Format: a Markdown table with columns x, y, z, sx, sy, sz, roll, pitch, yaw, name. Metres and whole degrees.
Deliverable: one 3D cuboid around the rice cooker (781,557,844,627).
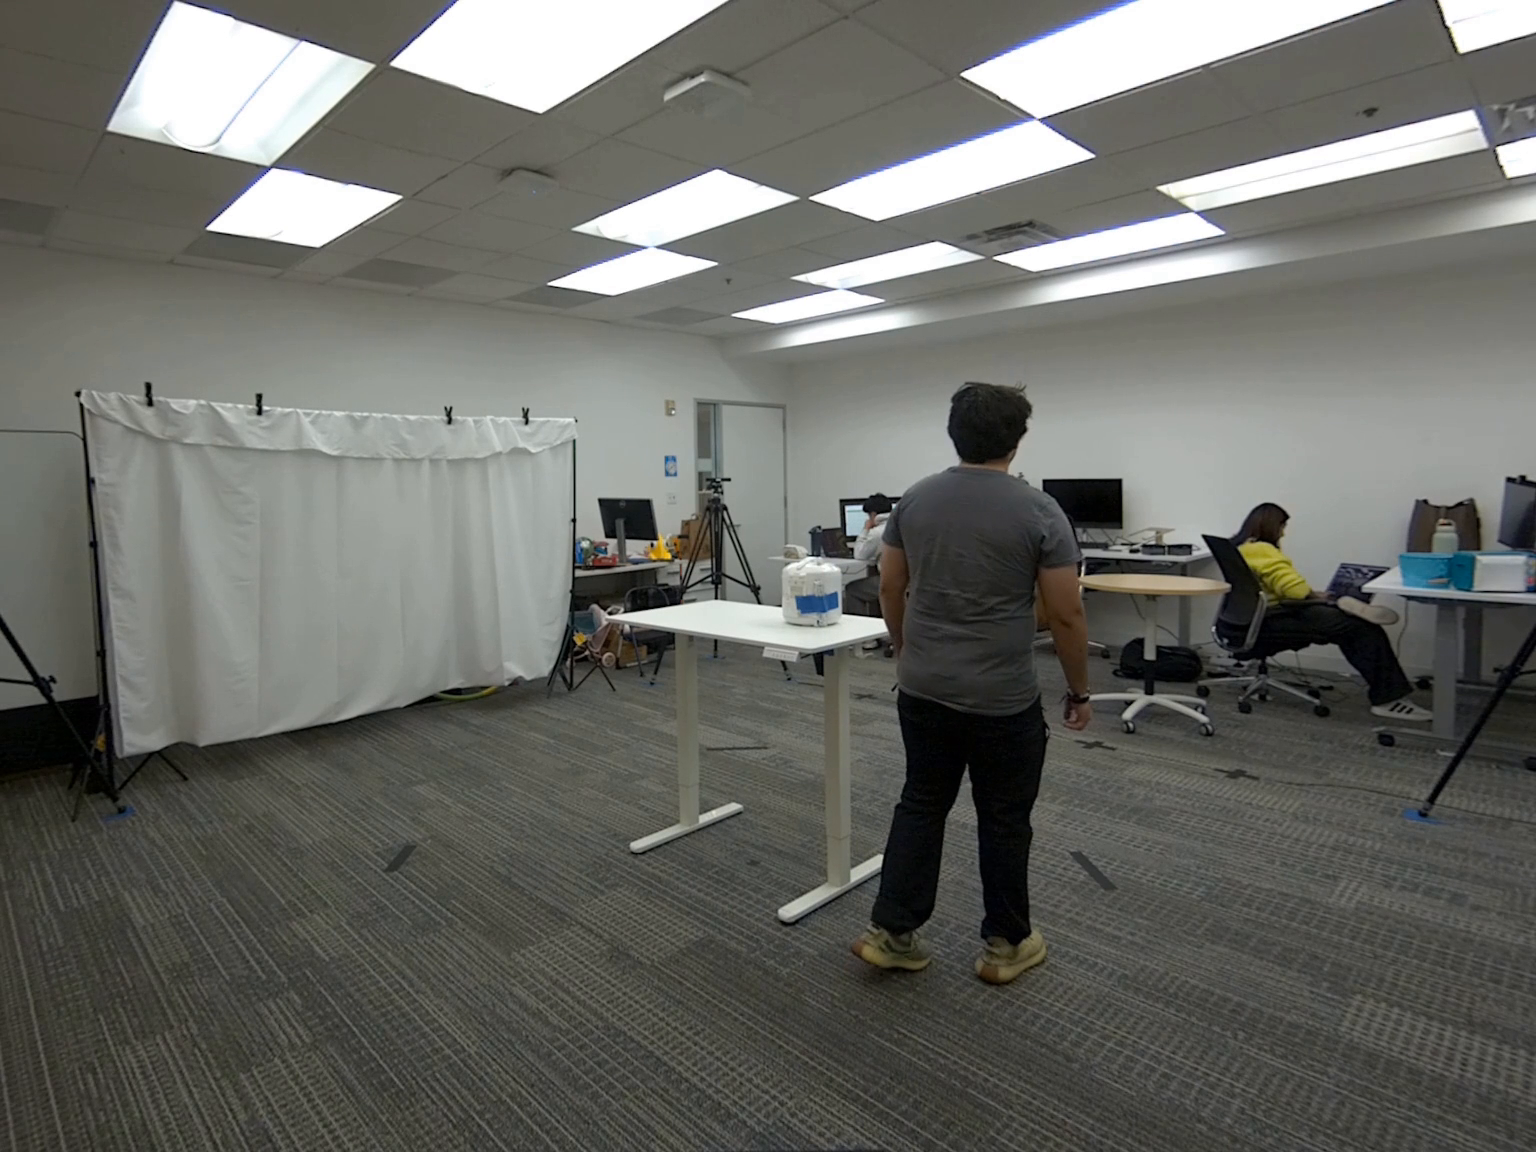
| x | y | z | sx | sy | sz | roll | pitch | yaw | name |
| --- | --- | --- | --- | --- | --- | --- | --- | --- | --- |
| 0.153 | 0.050 | 2.999 | 0.223 | 0.232 | 0.215 | 3 | 5 | 34 | rice cooker |
